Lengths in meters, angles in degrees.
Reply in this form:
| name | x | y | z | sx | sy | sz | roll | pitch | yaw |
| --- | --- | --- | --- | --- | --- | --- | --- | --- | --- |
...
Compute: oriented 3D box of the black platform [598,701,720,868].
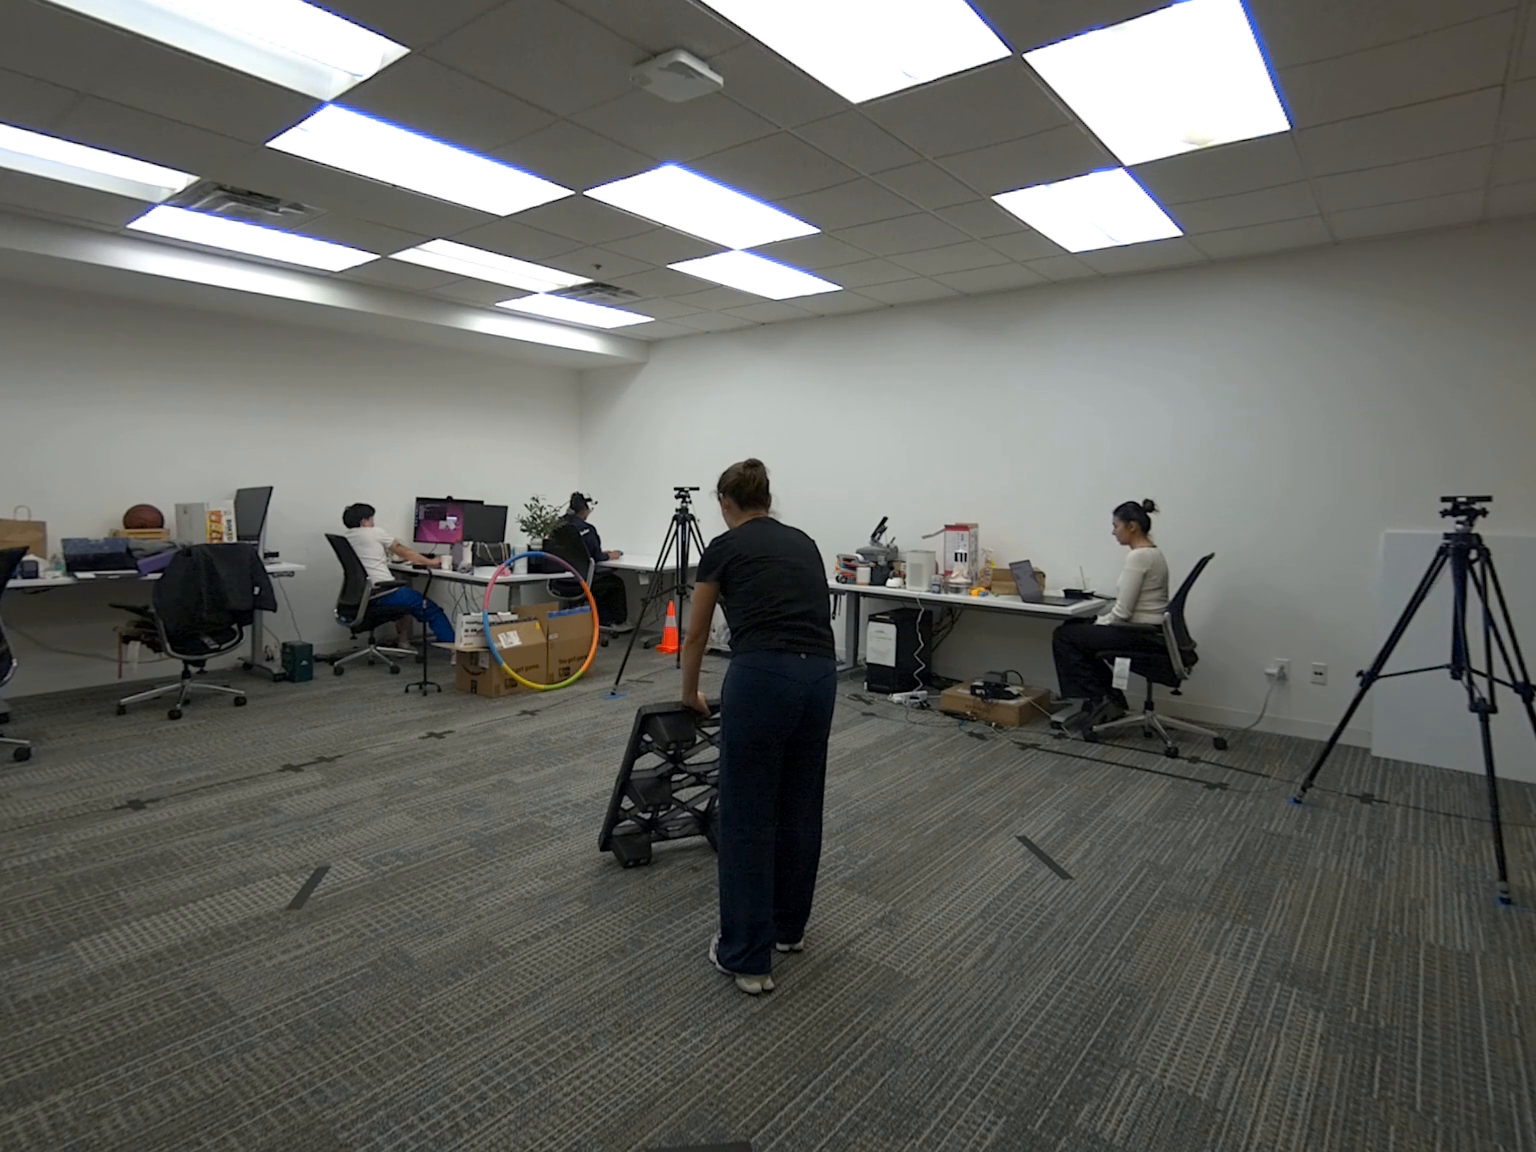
| name | x | y | z | sx | sy | sz | roll | pitch | yaw |
| --- | --- | --- | --- | --- | --- | --- | --- | --- | --- |
| black platform | -0.226 | 0.743 | 3.041 | 0.591 | 0.792 | 0.149 | 0 | 41 | -24 |
